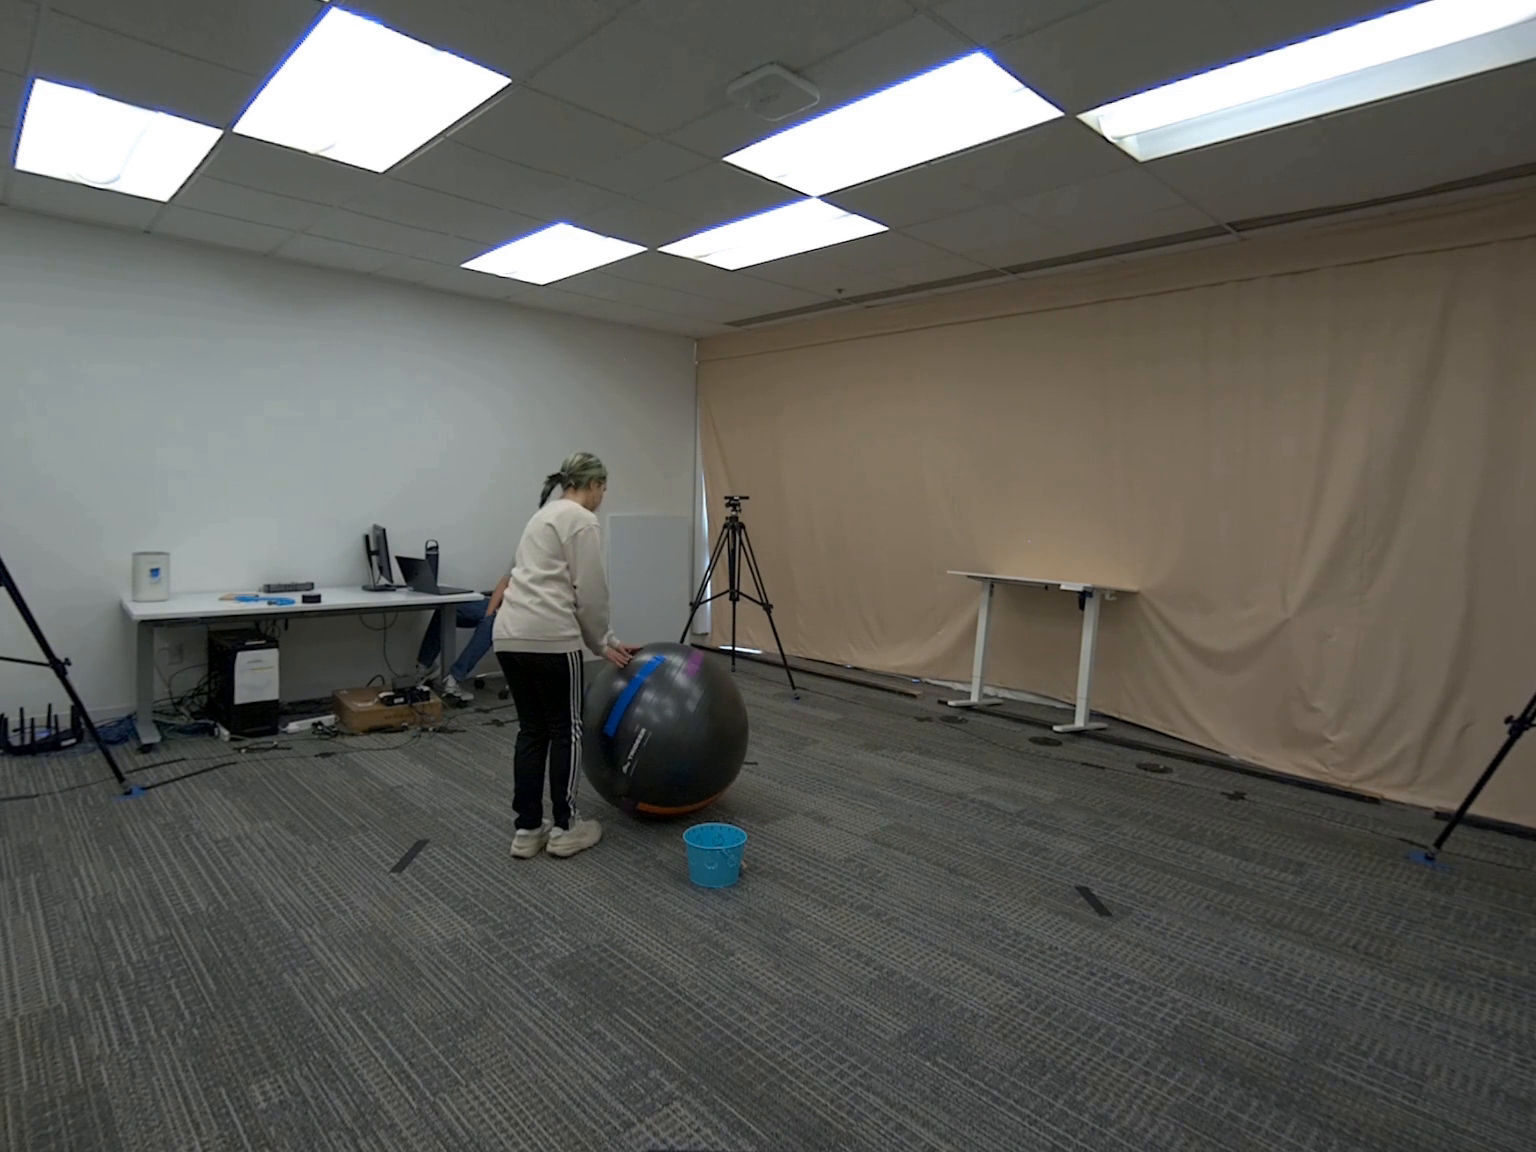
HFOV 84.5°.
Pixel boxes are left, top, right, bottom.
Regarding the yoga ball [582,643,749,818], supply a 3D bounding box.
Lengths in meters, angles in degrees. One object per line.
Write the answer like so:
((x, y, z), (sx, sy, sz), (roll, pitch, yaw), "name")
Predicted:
((-0.468, 0.673, 3.691), (0.757, 0.756, 0.761), (1, 4, -1), "yoga ball")
